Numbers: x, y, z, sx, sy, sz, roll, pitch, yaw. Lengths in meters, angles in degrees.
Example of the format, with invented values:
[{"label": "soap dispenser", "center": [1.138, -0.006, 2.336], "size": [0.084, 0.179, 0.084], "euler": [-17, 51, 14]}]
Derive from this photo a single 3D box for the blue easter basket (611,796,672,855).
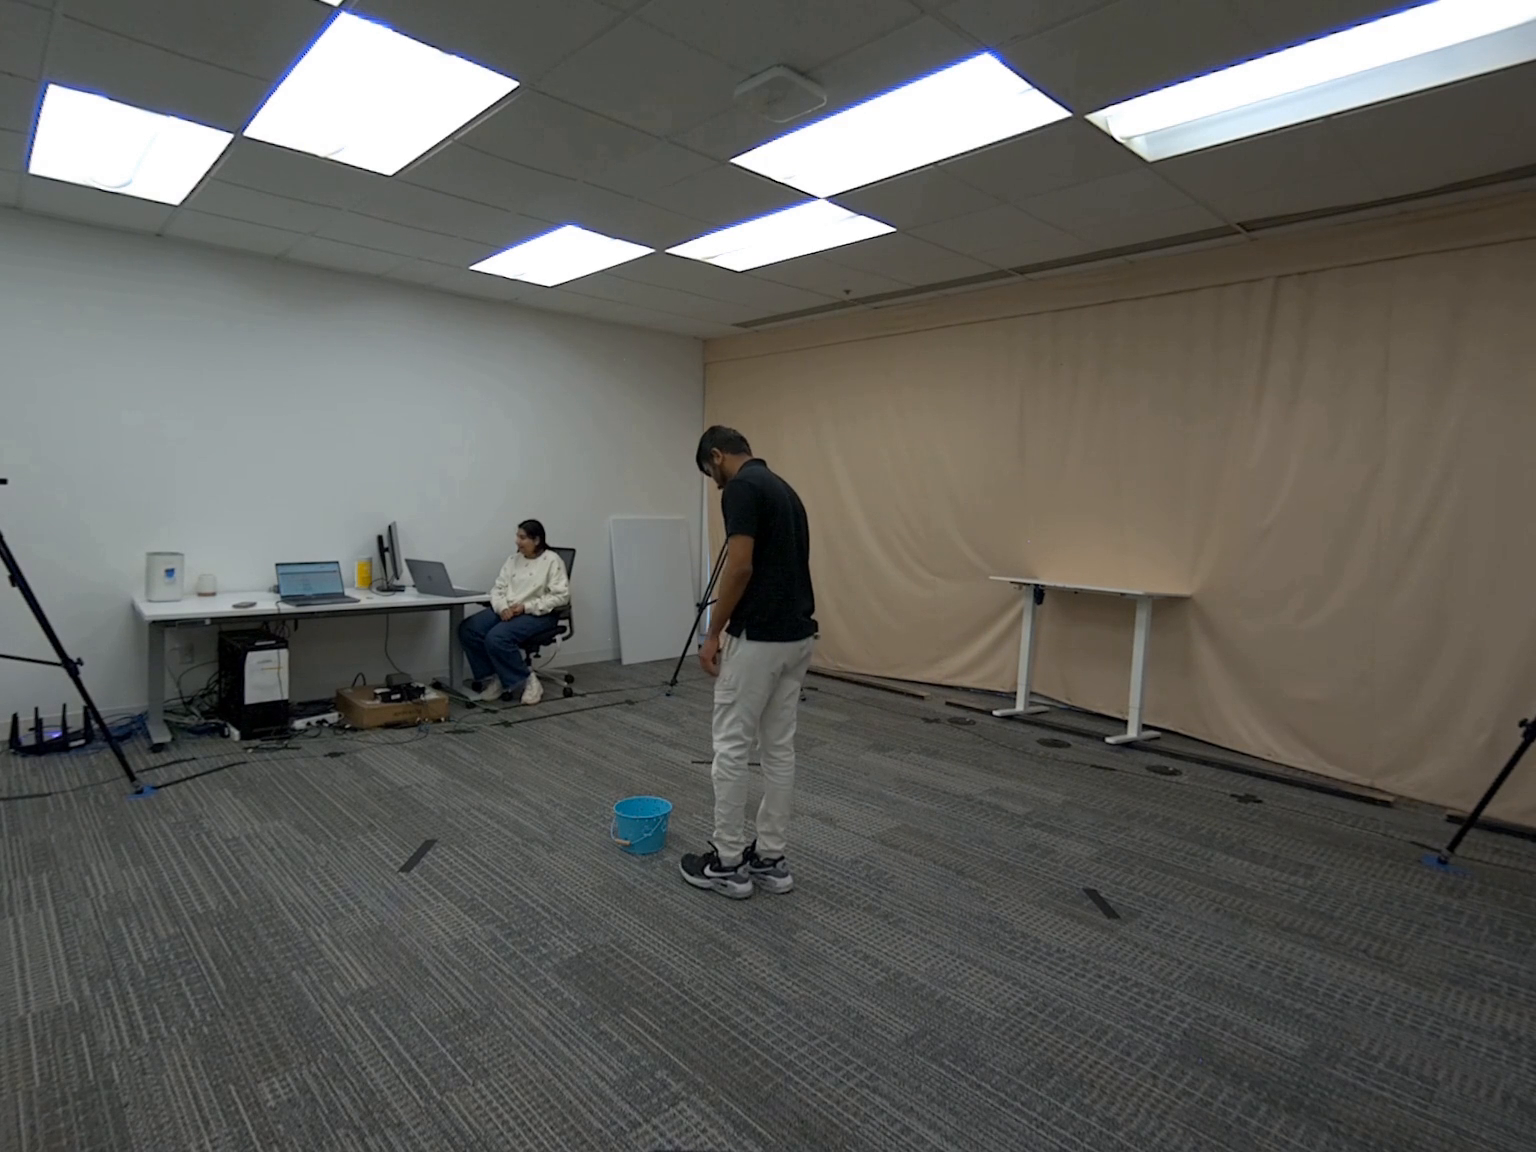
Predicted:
[{"label": "blue easter basket", "center": [-0.516, 0.995, 3.367], "size": [0.243, 0.155, 0.244], "euler": [2, 4, -1]}]
